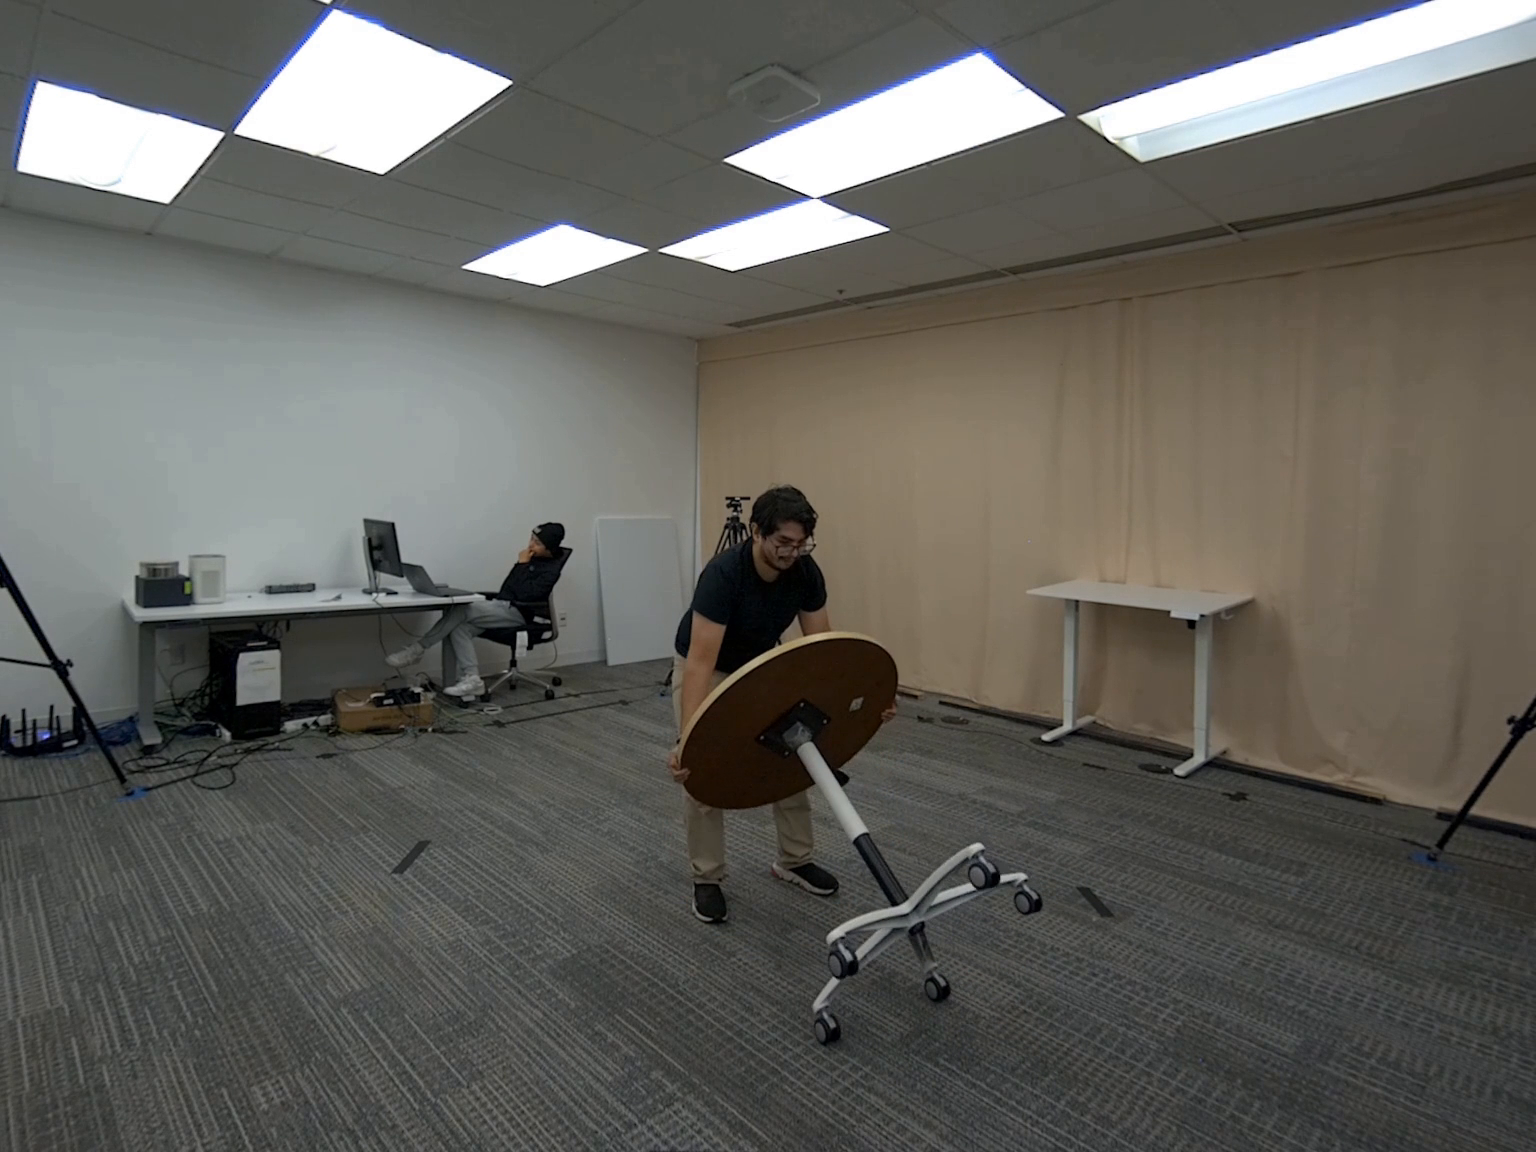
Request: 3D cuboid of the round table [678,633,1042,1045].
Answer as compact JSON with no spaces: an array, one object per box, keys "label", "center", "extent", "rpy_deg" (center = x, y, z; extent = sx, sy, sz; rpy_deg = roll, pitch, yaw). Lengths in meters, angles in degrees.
[{"label":"round table","center":[0.229,0.710,2.372],"extent":[0.769,0.776,0.811],"rpy_deg":[-1,38,-32]}]
